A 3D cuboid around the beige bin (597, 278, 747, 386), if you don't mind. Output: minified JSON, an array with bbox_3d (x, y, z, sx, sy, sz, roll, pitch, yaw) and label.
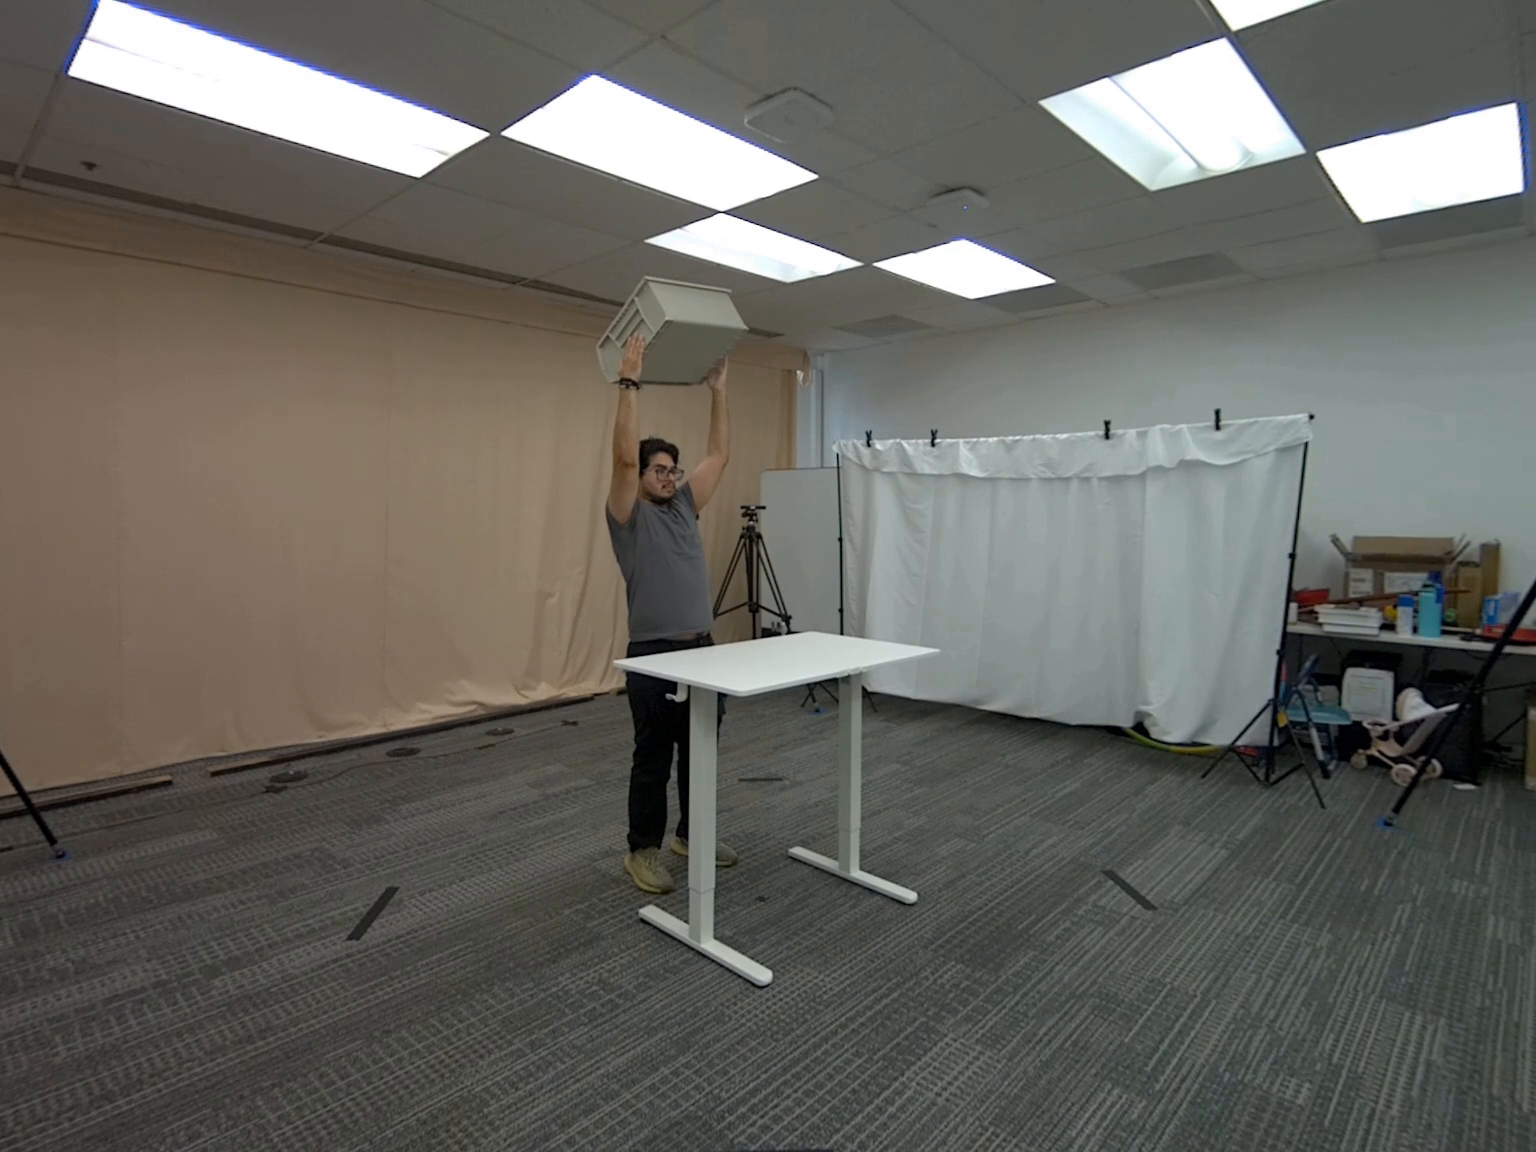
[{"bbox_3d":[-0.342,-0.849,3.033,0.410,0.192,0.382,-10,-22,-48],"label":"beige bin"}]
